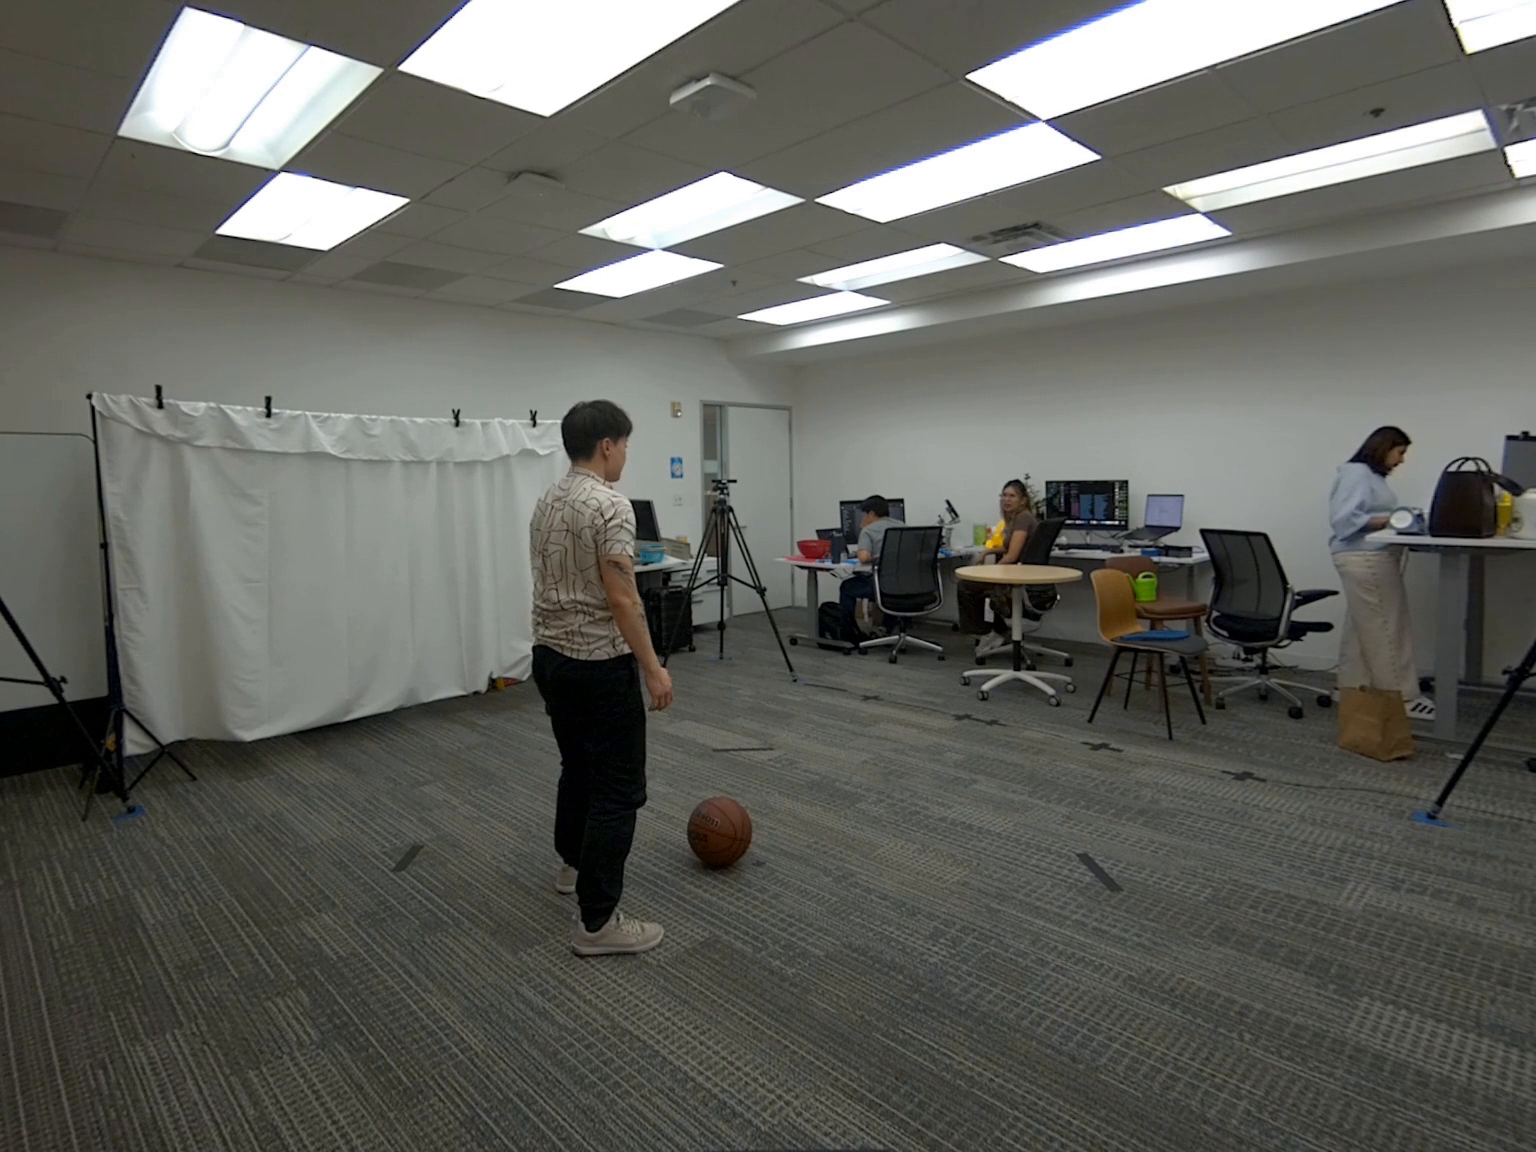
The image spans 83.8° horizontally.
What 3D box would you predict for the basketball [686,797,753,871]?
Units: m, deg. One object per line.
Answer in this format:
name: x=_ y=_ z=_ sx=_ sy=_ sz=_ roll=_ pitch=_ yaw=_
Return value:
basketball: x=-0.171 y=0.927 z=3.112 sx=0.236 sy=0.235 sz=0.237 roll=-1 pitch=5 yaw=-2
